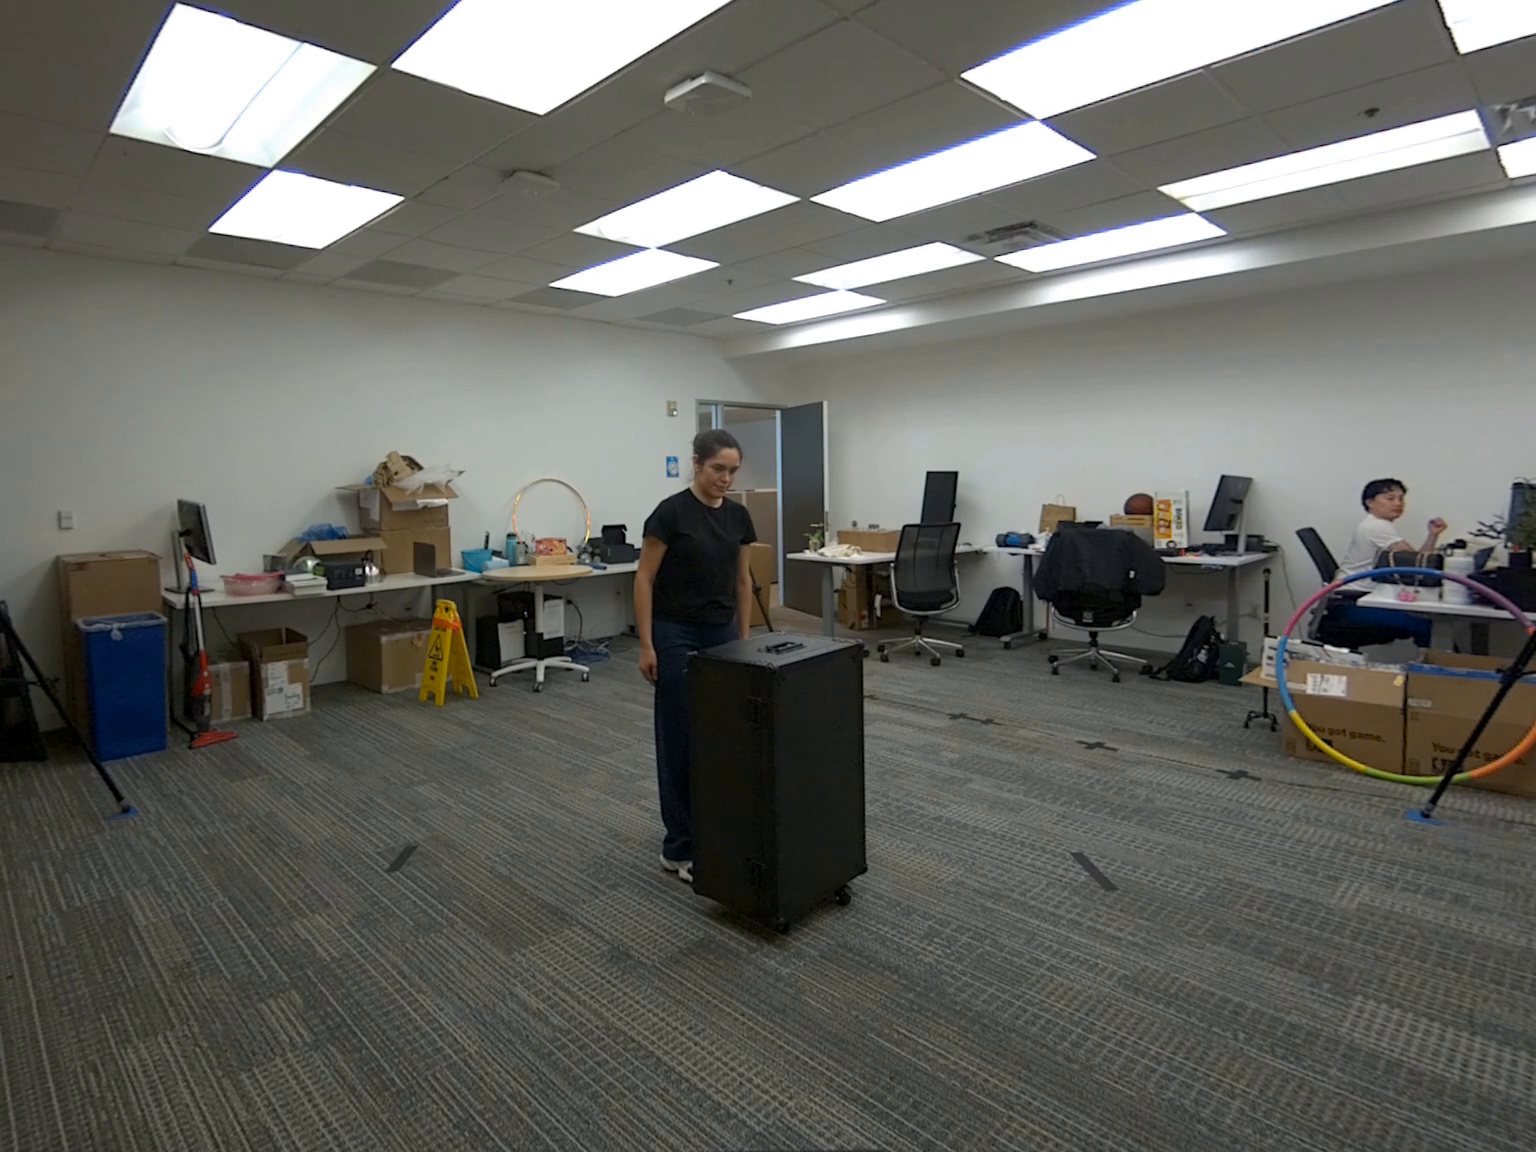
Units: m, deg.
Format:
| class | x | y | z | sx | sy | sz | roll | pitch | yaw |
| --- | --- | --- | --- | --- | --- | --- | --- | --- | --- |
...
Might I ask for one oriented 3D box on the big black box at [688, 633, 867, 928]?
| class | x | y | z | sx | sy | sz | roll | pitch | yaw |
| --- | --- | --- | --- | --- | --- | --- | --- | --- | --- |
| big black box | 0.044 | 0.652 | 2.797 | 0.408 | 0.858 | 0.508 | 2 | 5 | 40 |
